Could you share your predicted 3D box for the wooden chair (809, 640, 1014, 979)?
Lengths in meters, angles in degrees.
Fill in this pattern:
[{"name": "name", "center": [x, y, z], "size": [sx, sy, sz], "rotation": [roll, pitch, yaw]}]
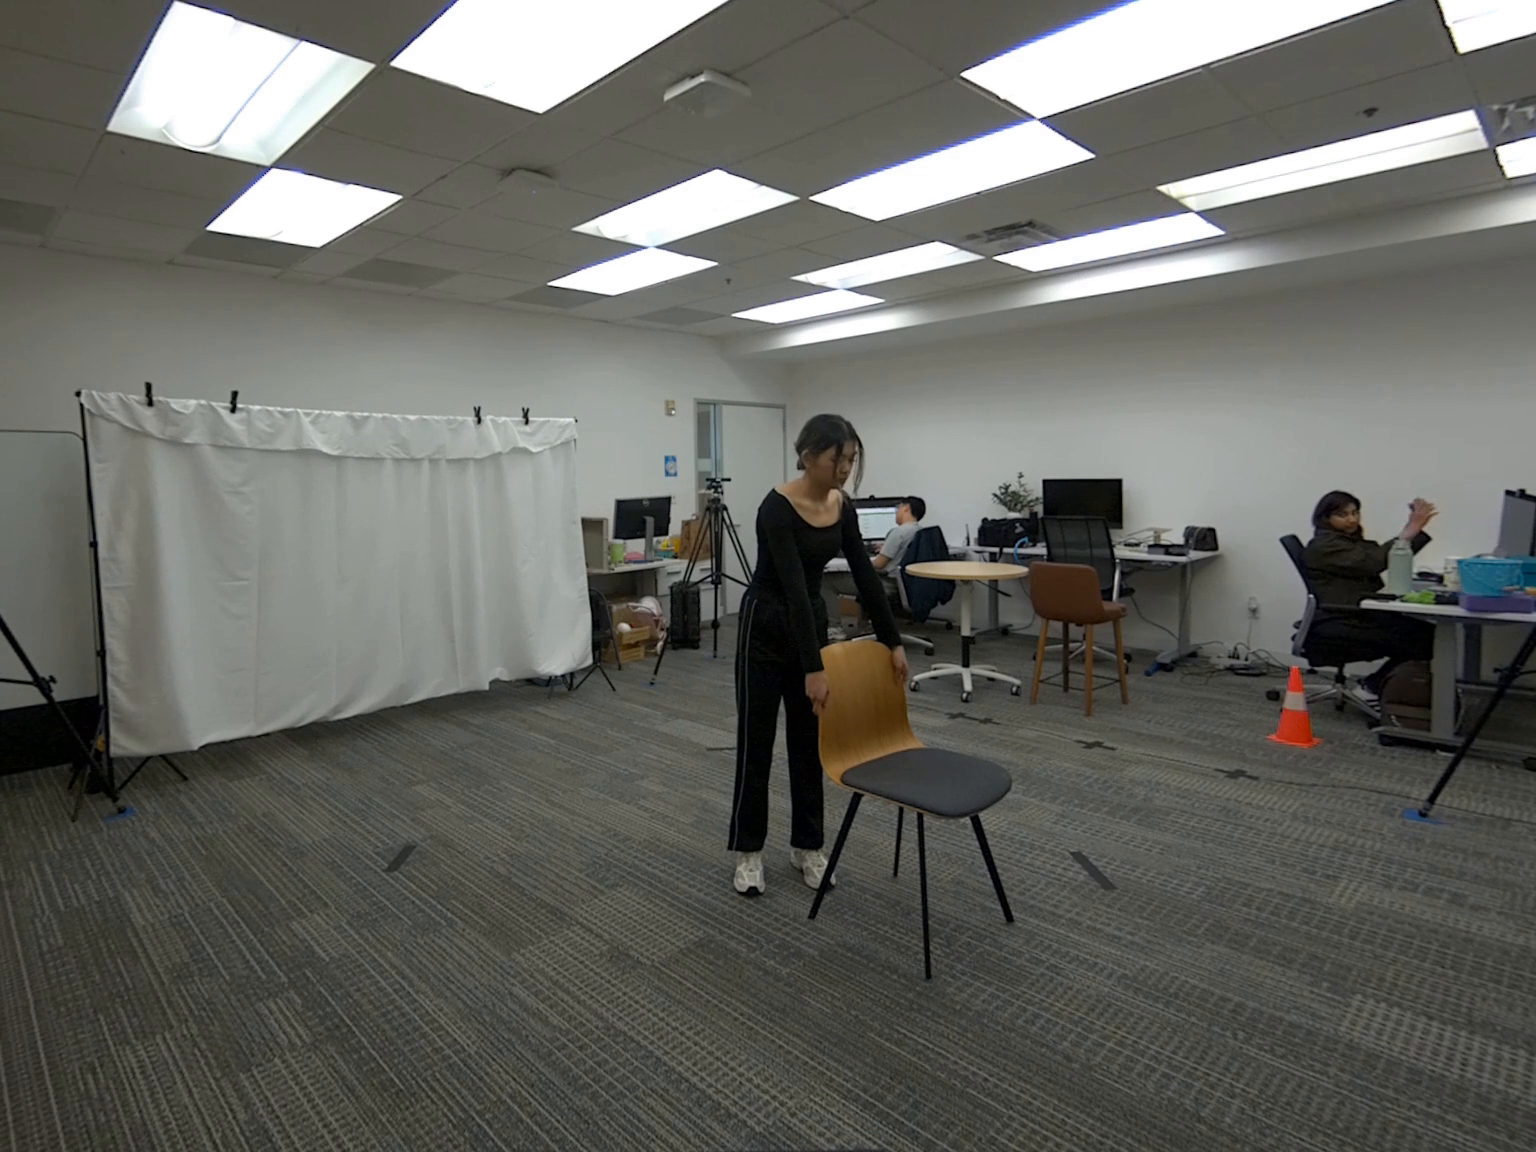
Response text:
[{"name": "wooden chair", "center": [0.449, 0.660, 2.645], "size": [0.465, 0.877, 0.537], "rotation": [-4, 1, -43]}]
